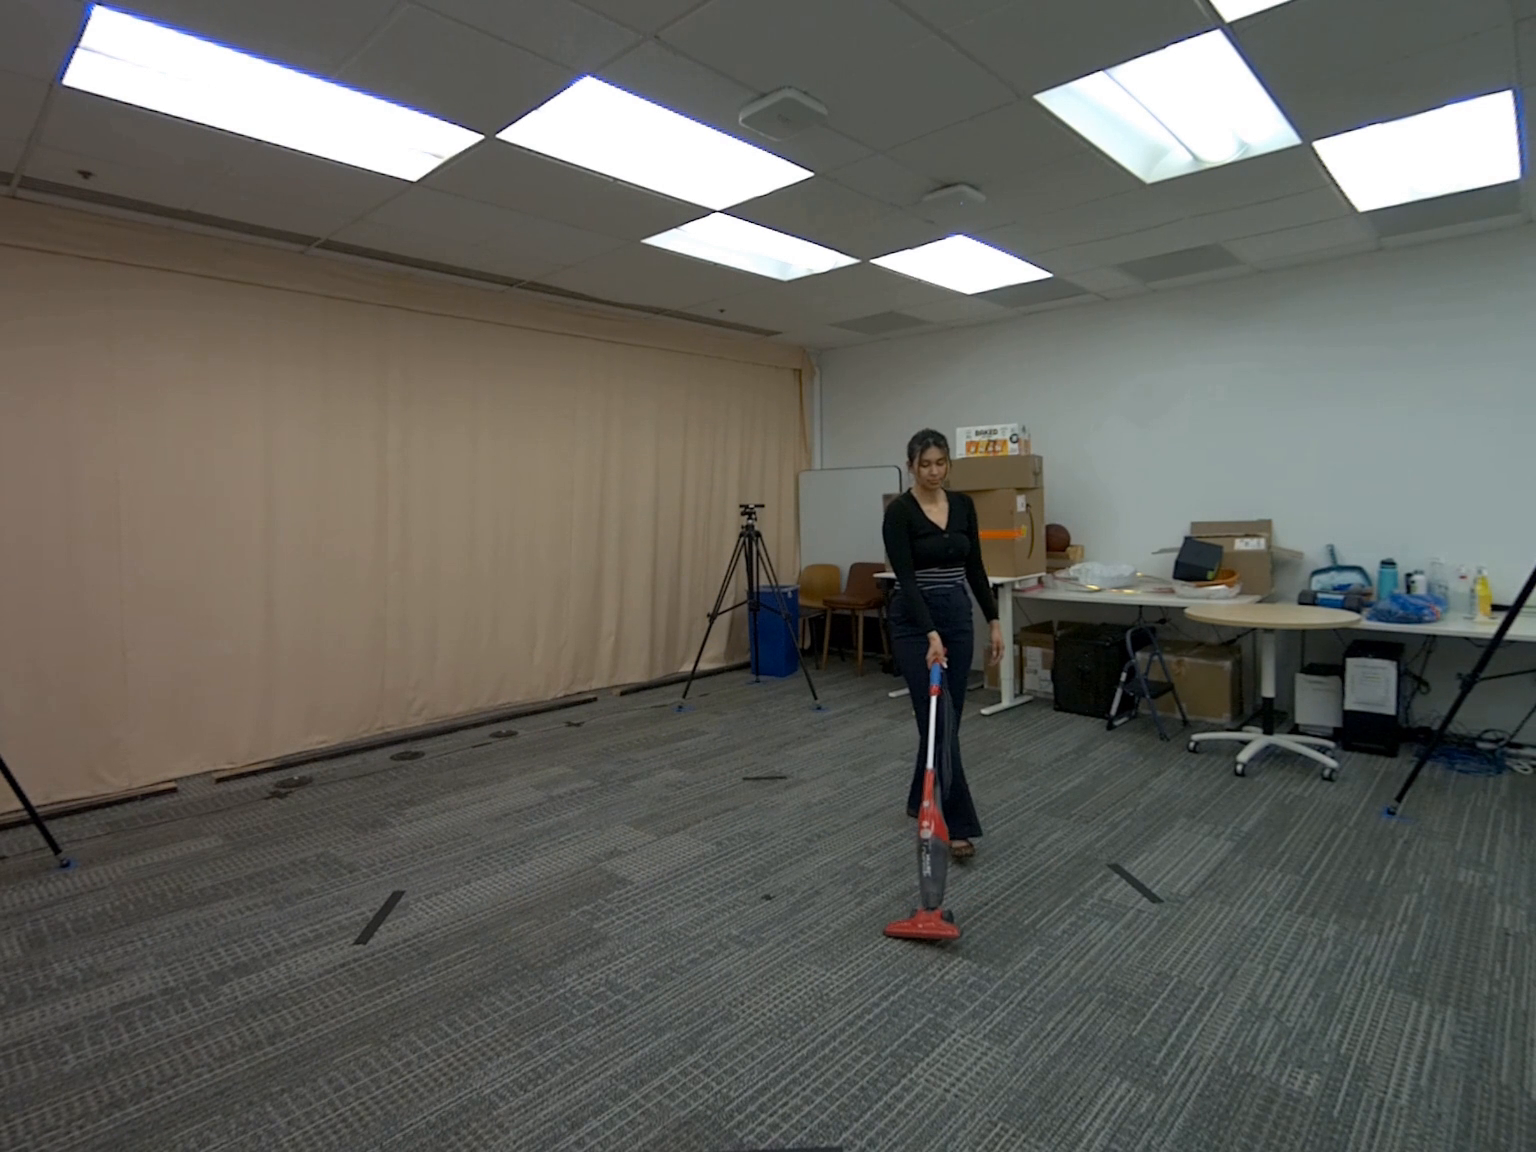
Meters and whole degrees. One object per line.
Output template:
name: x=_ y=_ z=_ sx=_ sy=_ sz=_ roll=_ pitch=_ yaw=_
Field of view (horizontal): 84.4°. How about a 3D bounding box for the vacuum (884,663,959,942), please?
vacuum: x=0.601 y=0.720 z=2.996 sx=0.259 sy=1.059 sz=0.139 roll=-8 pitch=-40 yaw=26
